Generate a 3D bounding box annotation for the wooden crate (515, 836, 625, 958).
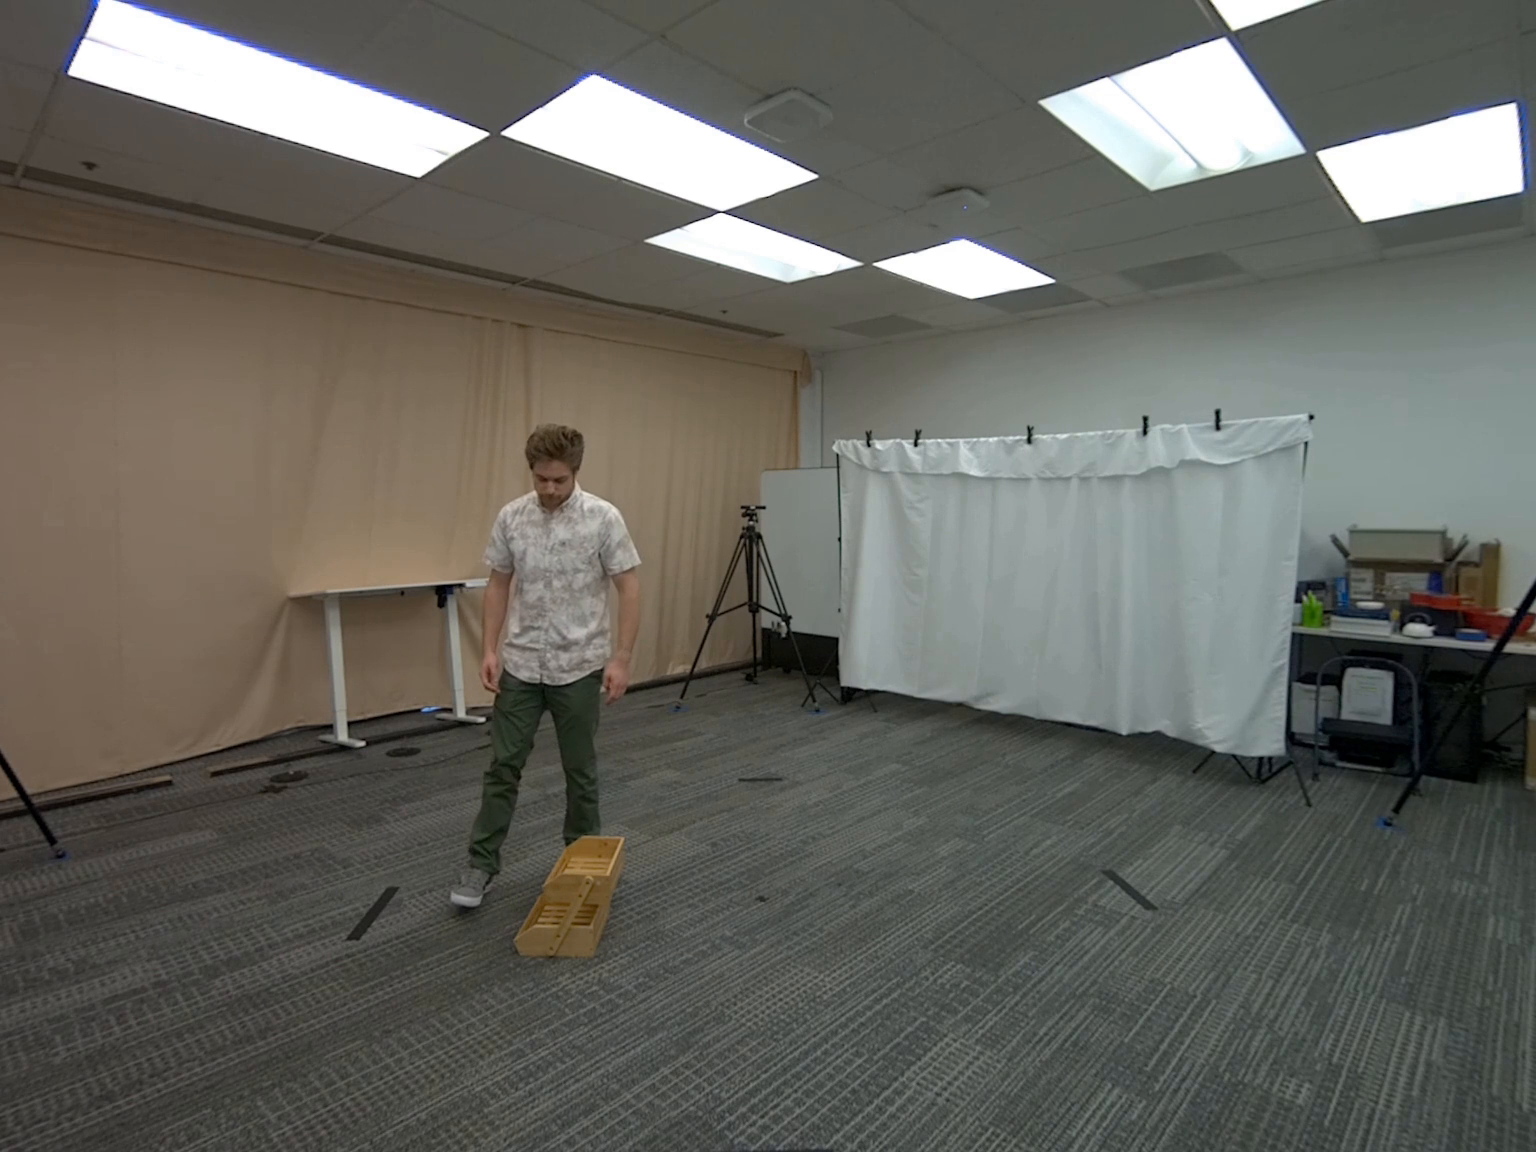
[{"bbox_3d":[-0.650,1.039,2.747,0.303,0.273,0.324,-1,4,1],"label":"wooden crate"}]
